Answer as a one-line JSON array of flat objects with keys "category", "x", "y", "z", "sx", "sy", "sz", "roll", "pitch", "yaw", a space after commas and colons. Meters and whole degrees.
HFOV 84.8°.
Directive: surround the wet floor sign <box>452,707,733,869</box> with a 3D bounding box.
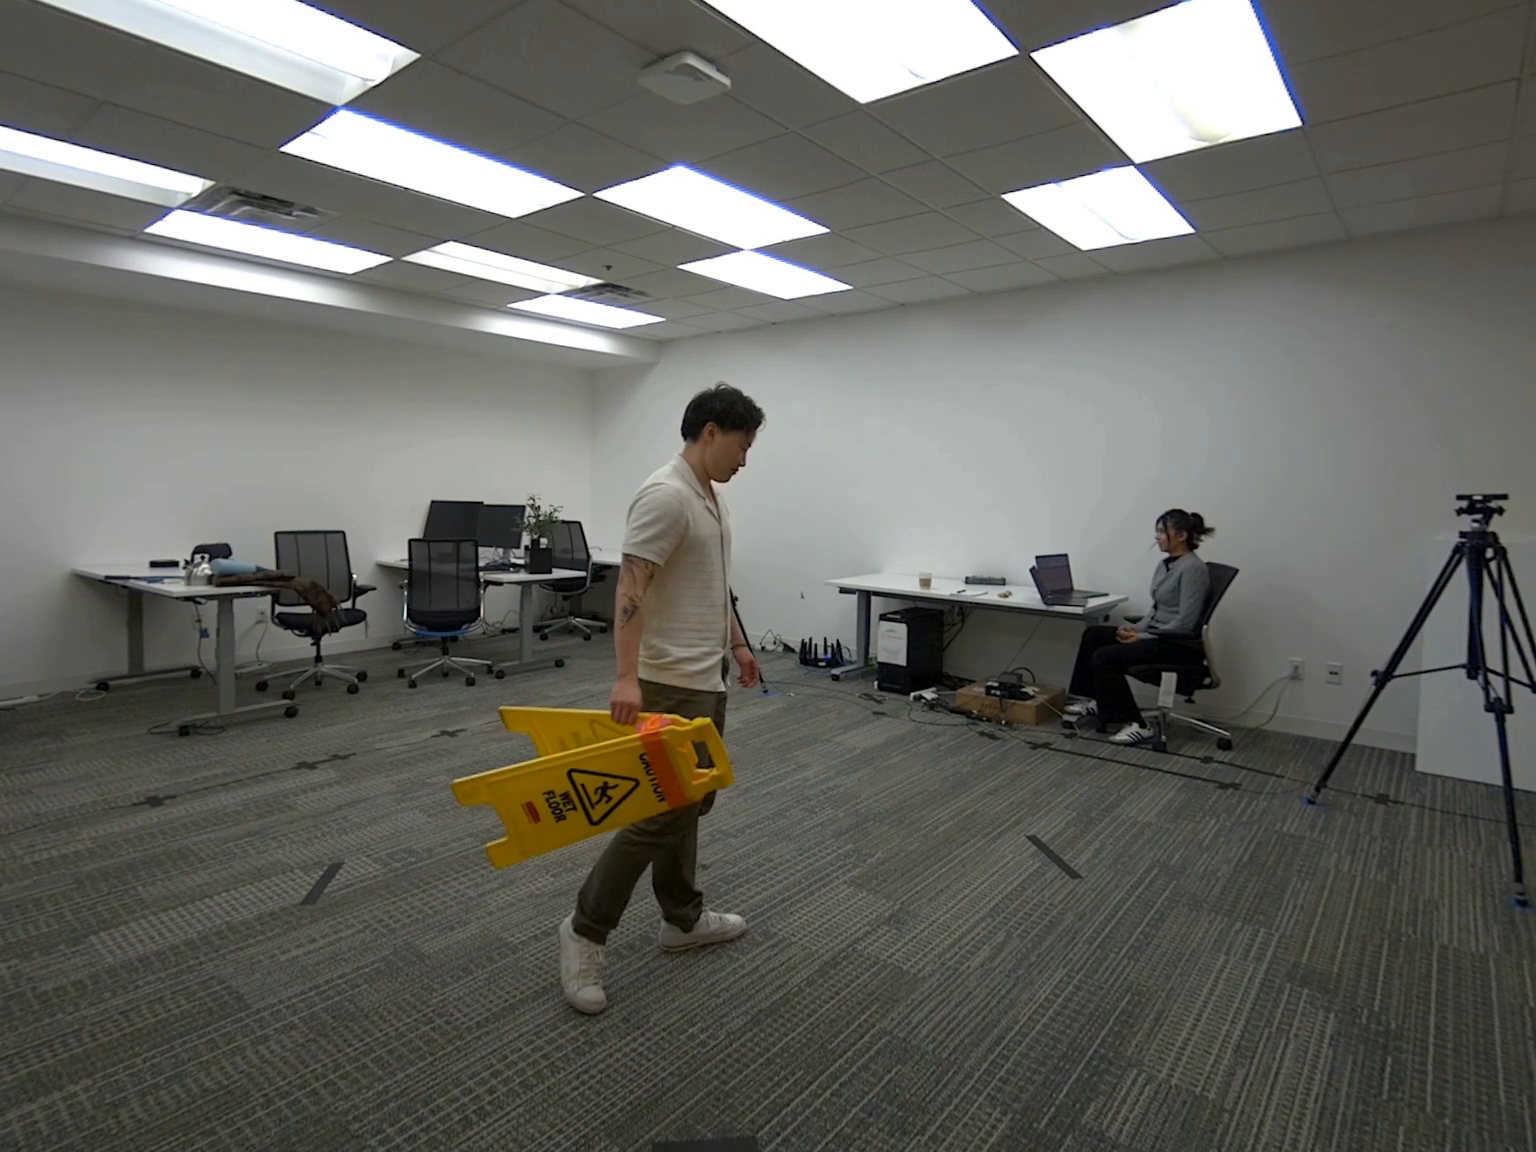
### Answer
[{"category": "wet floor sign", "x": -0.417, "y": 0.491, "z": 2.157, "sx": 0.654, "sy": 0.274, "sz": 0.294, "roll": -12, "pitch": 25, "yaw": 16}]
